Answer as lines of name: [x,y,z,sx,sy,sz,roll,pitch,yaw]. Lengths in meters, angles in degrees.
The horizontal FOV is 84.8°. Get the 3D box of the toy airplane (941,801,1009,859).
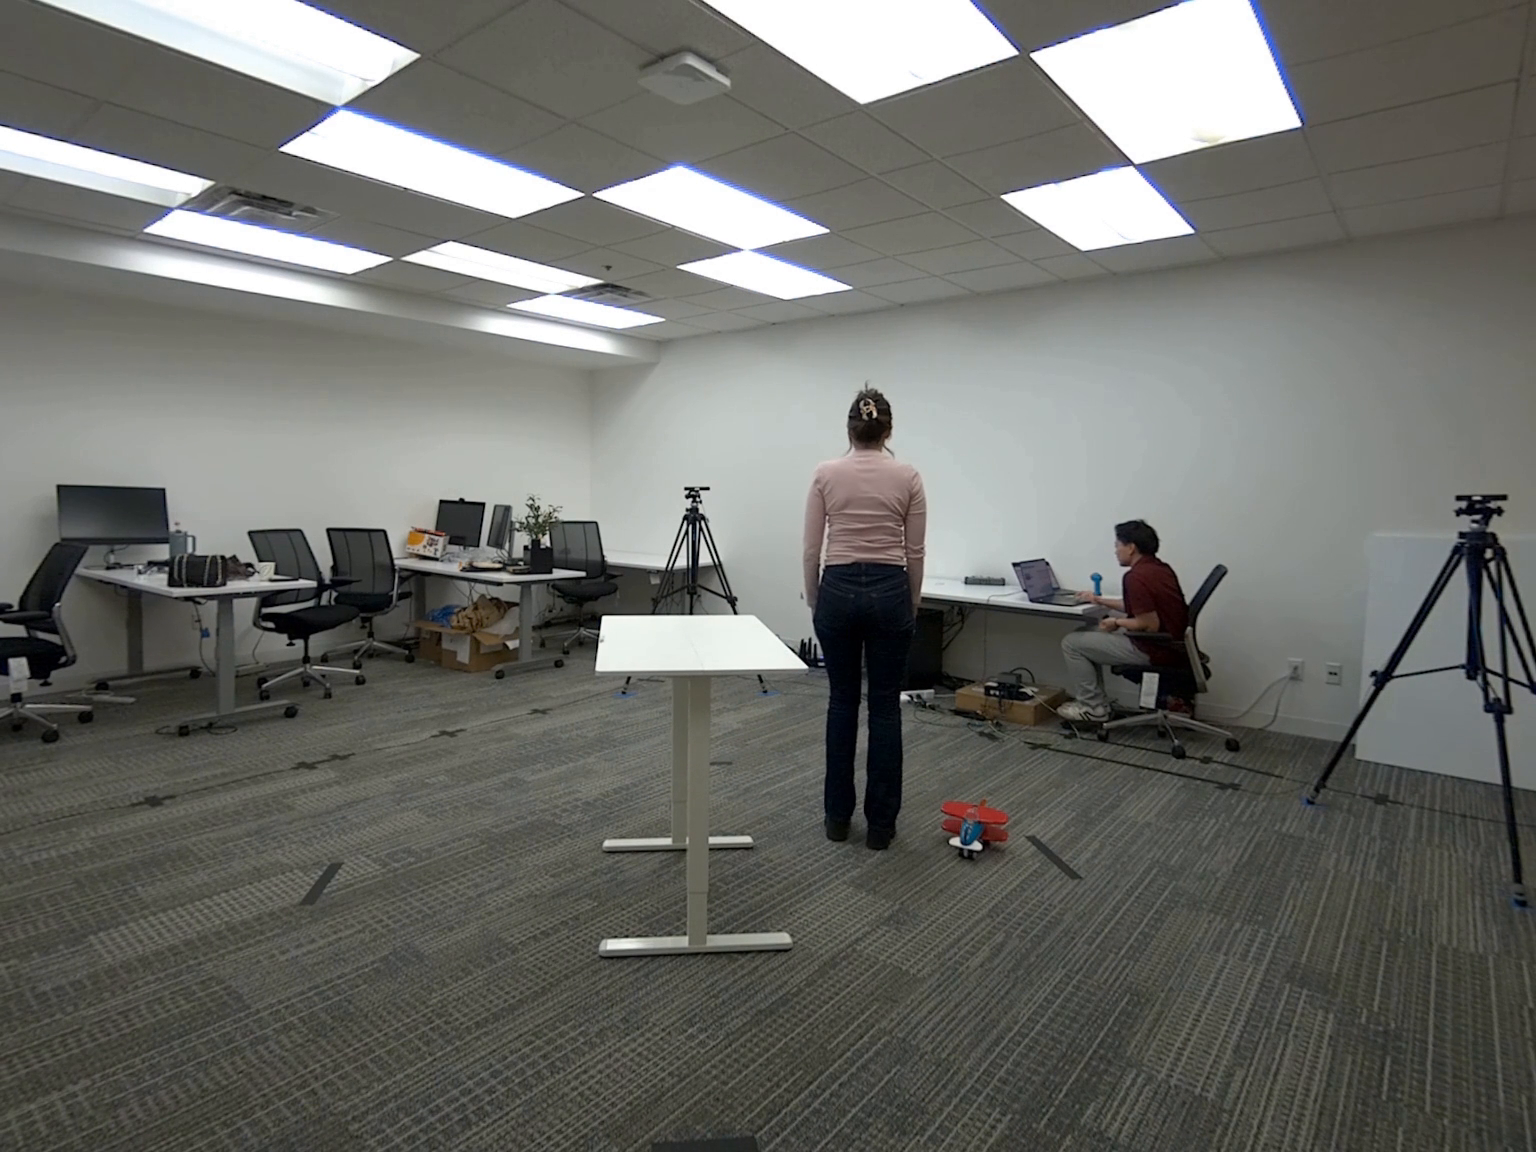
toy airplane: [0.816,0.994,3.325,0.251,0.156,0.260,2,4,0]
